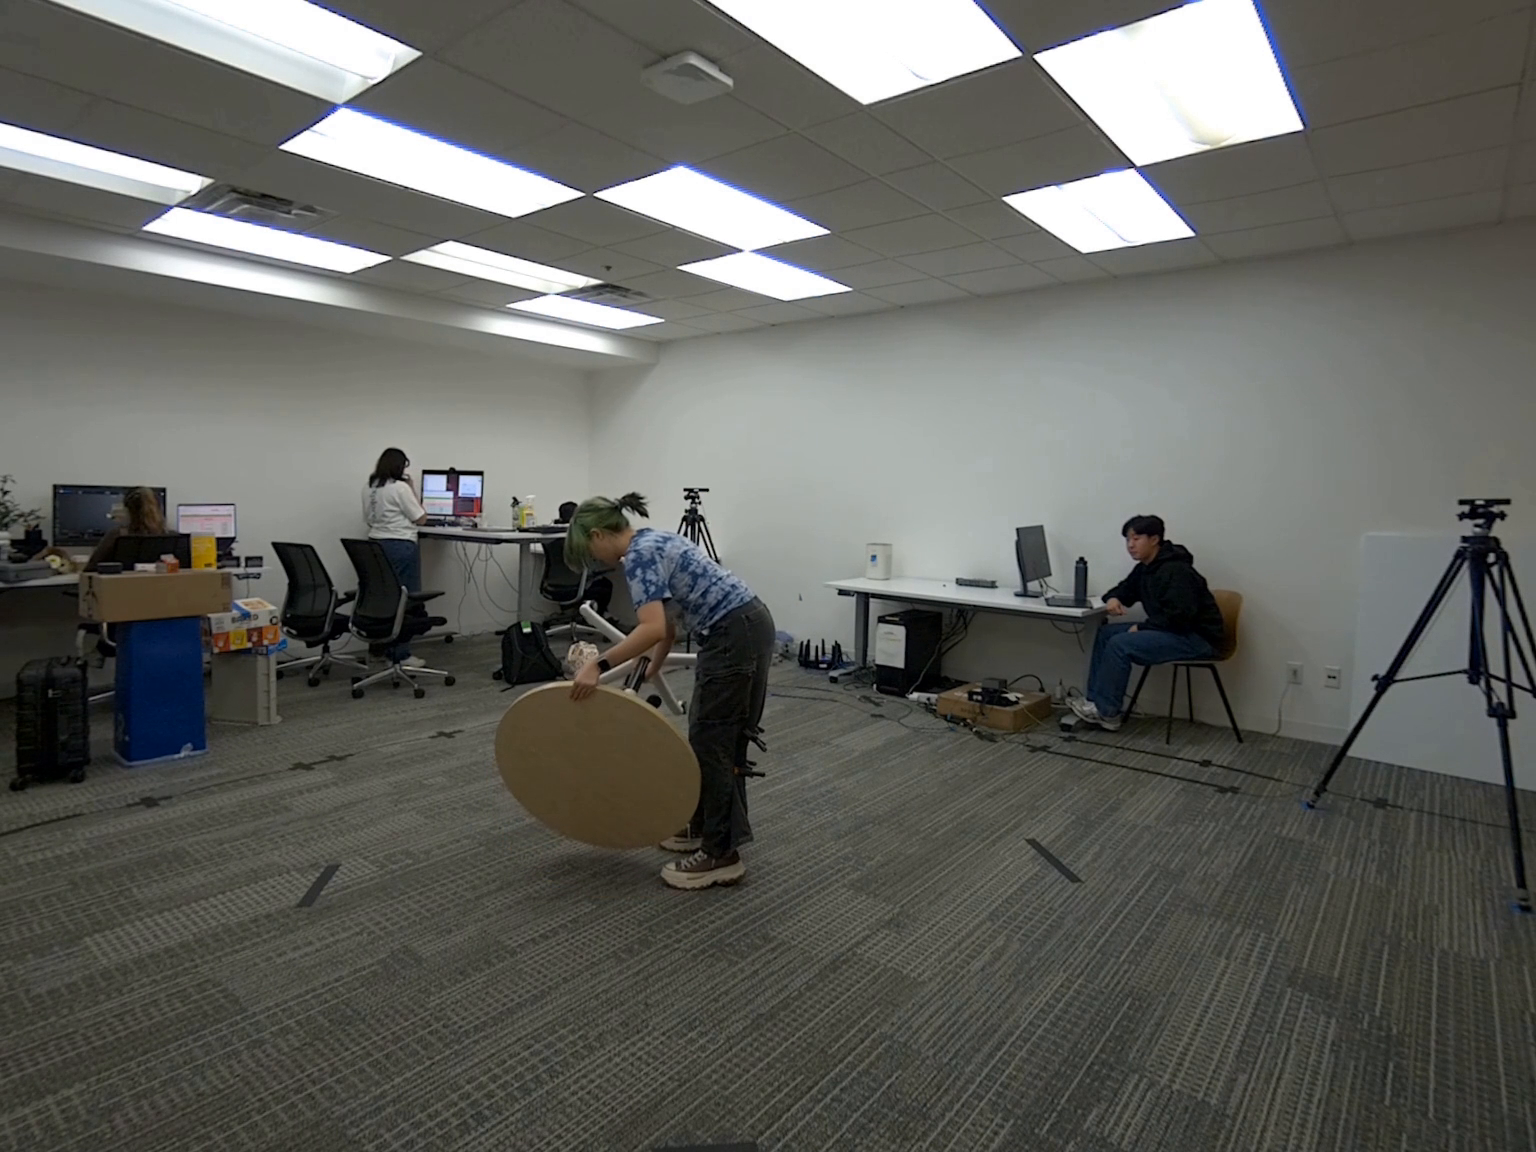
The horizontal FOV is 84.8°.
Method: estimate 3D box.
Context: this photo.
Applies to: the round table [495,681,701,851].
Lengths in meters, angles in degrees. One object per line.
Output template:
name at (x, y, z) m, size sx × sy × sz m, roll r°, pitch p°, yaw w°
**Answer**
round table at (-0.566, 0.499, 3.373) m, size 0.773 × 0.744 × 0.806 m, roll 1°, pitch 29°, yaw 9°
